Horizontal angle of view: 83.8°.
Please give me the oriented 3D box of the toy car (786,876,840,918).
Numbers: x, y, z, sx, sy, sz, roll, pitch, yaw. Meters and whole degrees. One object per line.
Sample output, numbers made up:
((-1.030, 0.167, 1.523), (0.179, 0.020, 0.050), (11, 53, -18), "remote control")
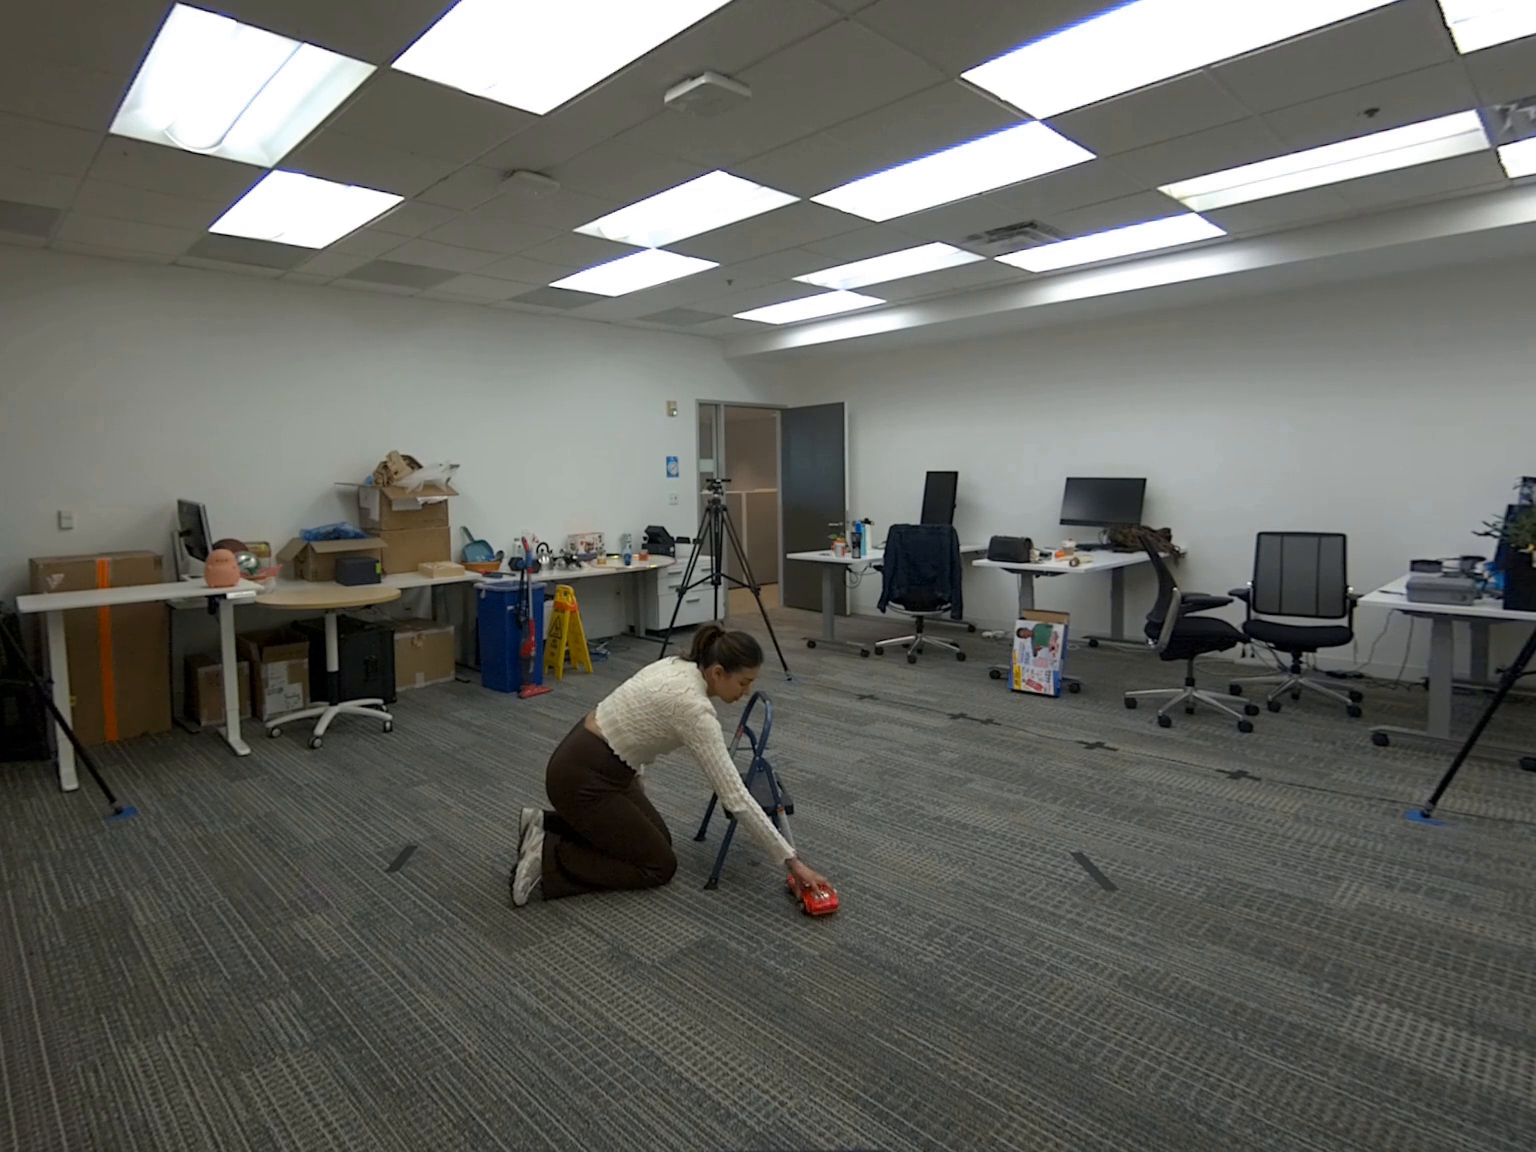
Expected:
((0.135, 1.038, 2.780), (0.128, 0.084, 0.257), (-1, -4, -19), "toy car")
